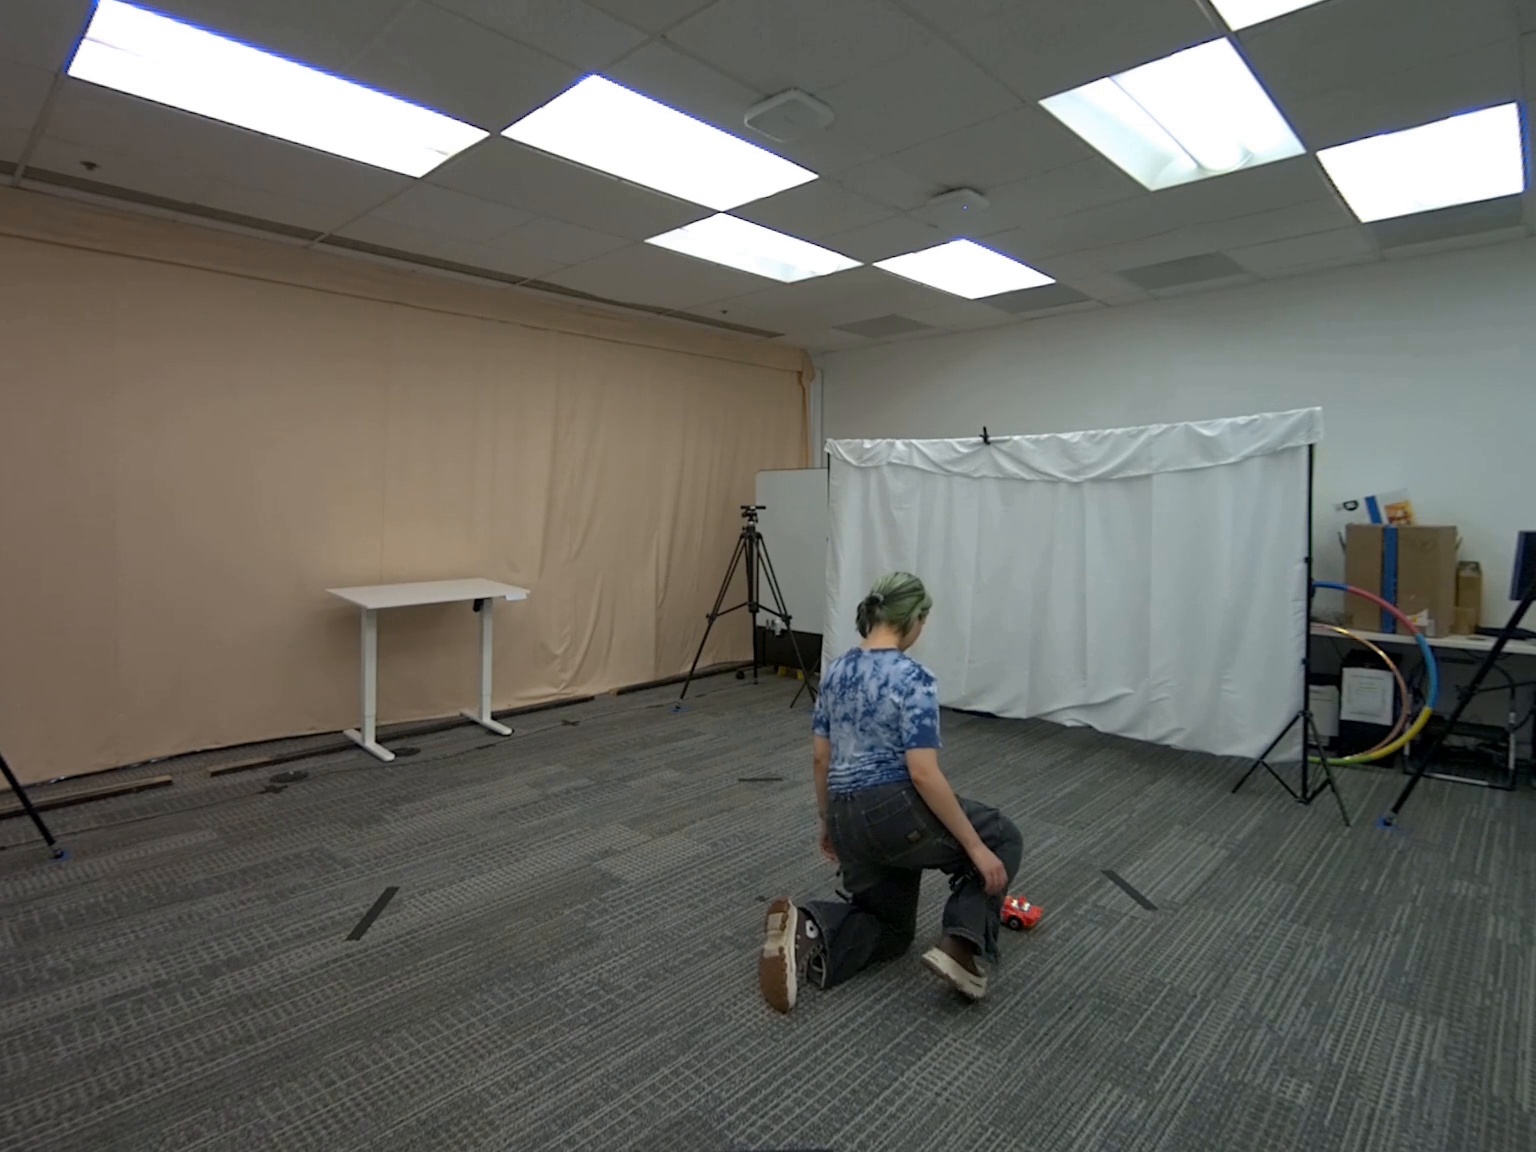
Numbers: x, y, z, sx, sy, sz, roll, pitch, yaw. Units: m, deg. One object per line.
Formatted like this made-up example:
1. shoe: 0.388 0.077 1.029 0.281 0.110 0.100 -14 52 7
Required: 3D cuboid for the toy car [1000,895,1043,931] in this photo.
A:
1. toy car: 0.795 1.122 2.826 0.261 0.083 0.127 -8 0 30
